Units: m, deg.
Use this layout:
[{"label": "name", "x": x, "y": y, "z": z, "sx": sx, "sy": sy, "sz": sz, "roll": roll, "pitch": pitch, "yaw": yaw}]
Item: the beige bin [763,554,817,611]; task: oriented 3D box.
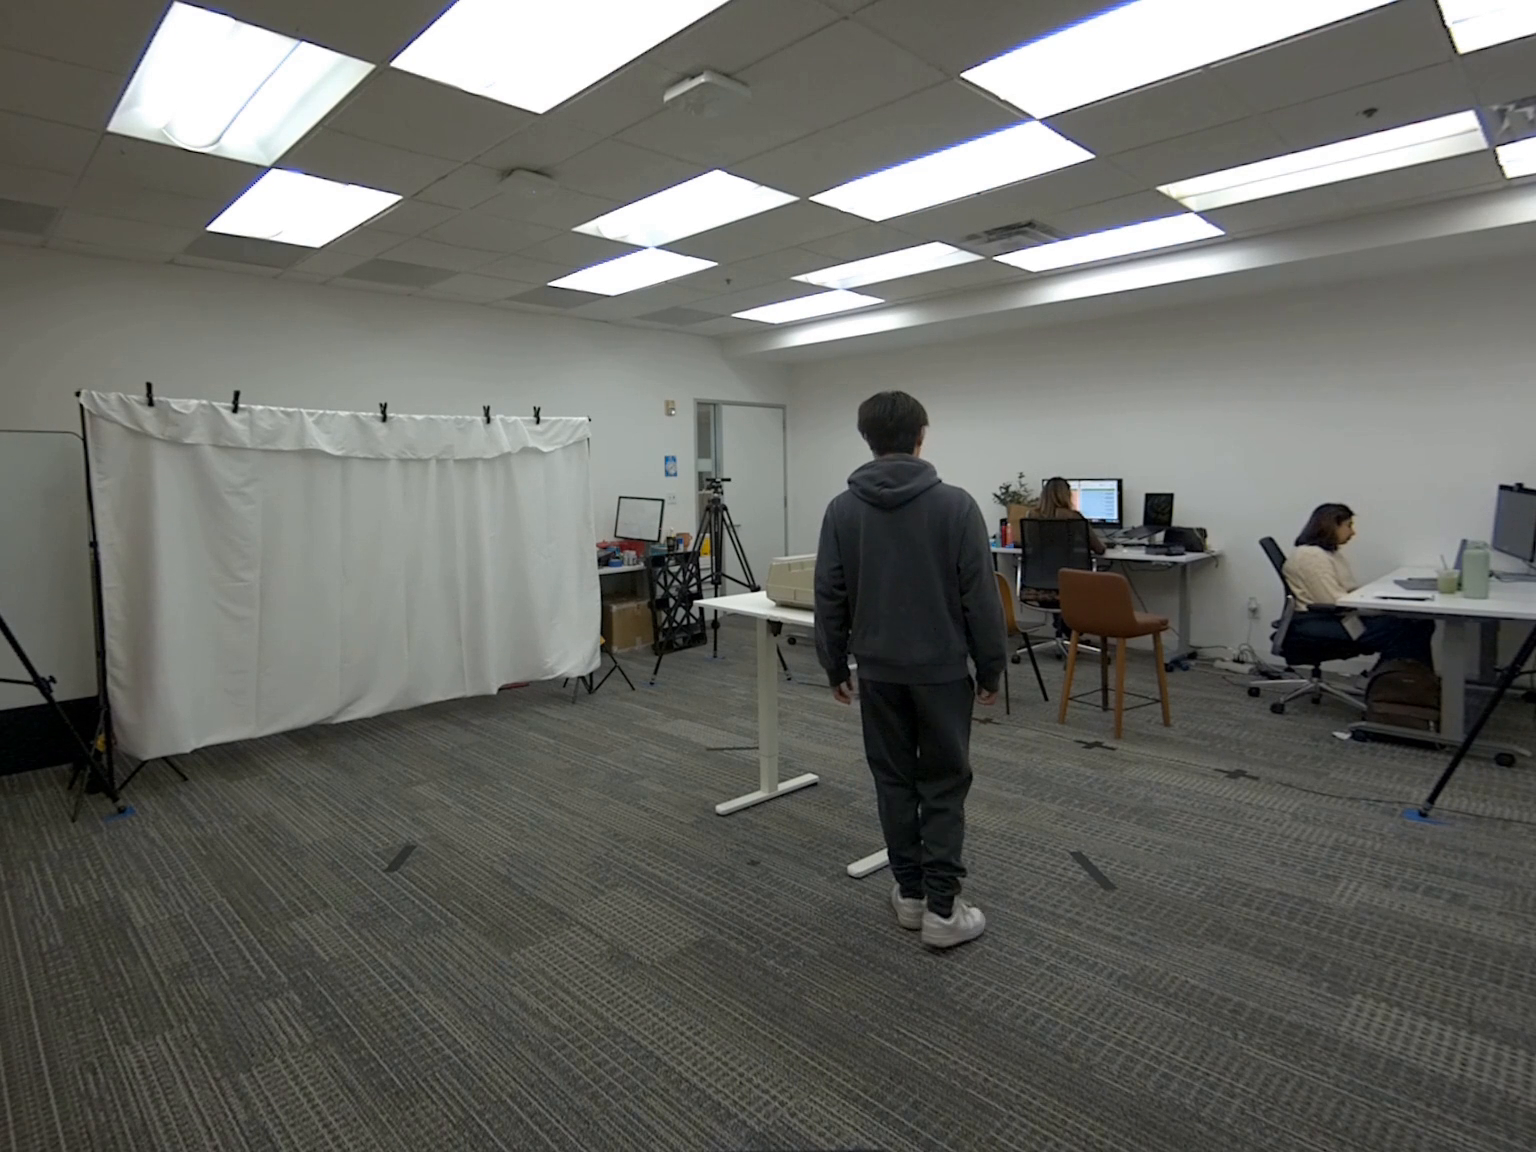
[{"label": "beige bin", "x": 0.271, "y": 0.036, "z": 3.370, "sx": 0.367, "sy": 0.188, "sz": 0.436, "roll": -6, "pitch": 8, "yaw": -43}]
